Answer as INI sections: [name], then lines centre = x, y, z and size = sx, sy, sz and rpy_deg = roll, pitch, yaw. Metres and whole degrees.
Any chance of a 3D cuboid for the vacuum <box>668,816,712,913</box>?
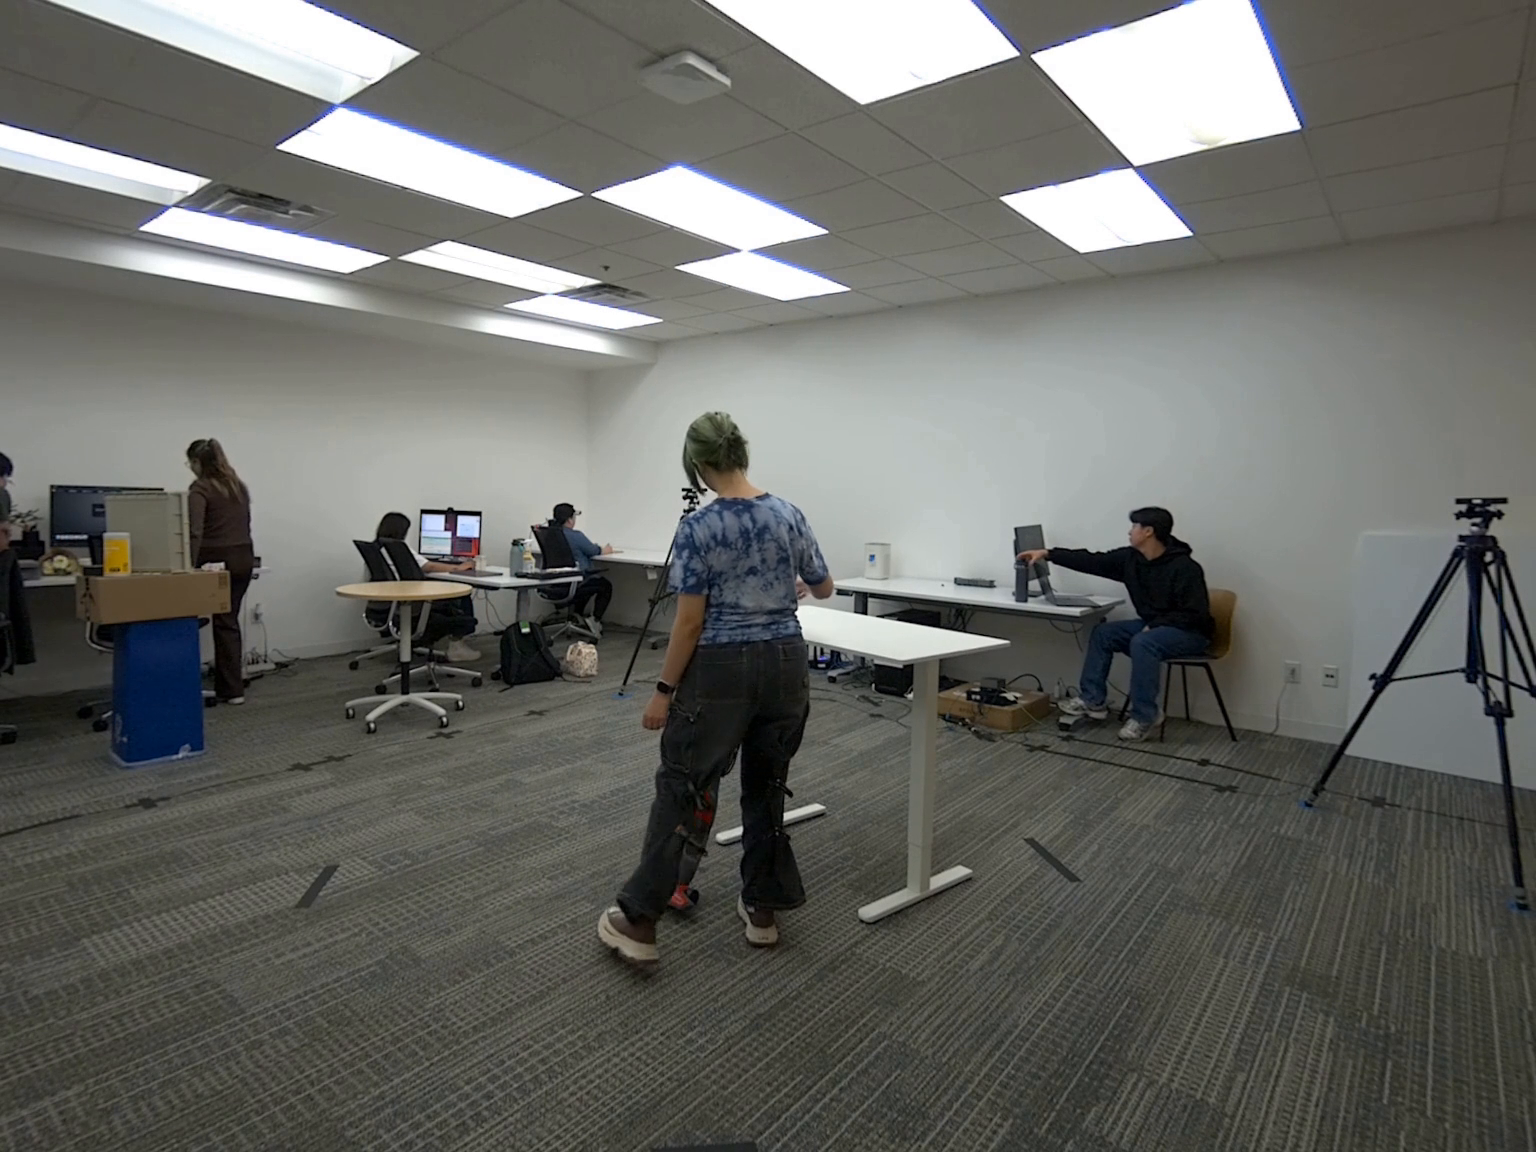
[vacuum]
centre = -0.178, 0.607, 3.002
size = 0.261, 1.060, 0.138
rpy_deg = 4, -23, 37
